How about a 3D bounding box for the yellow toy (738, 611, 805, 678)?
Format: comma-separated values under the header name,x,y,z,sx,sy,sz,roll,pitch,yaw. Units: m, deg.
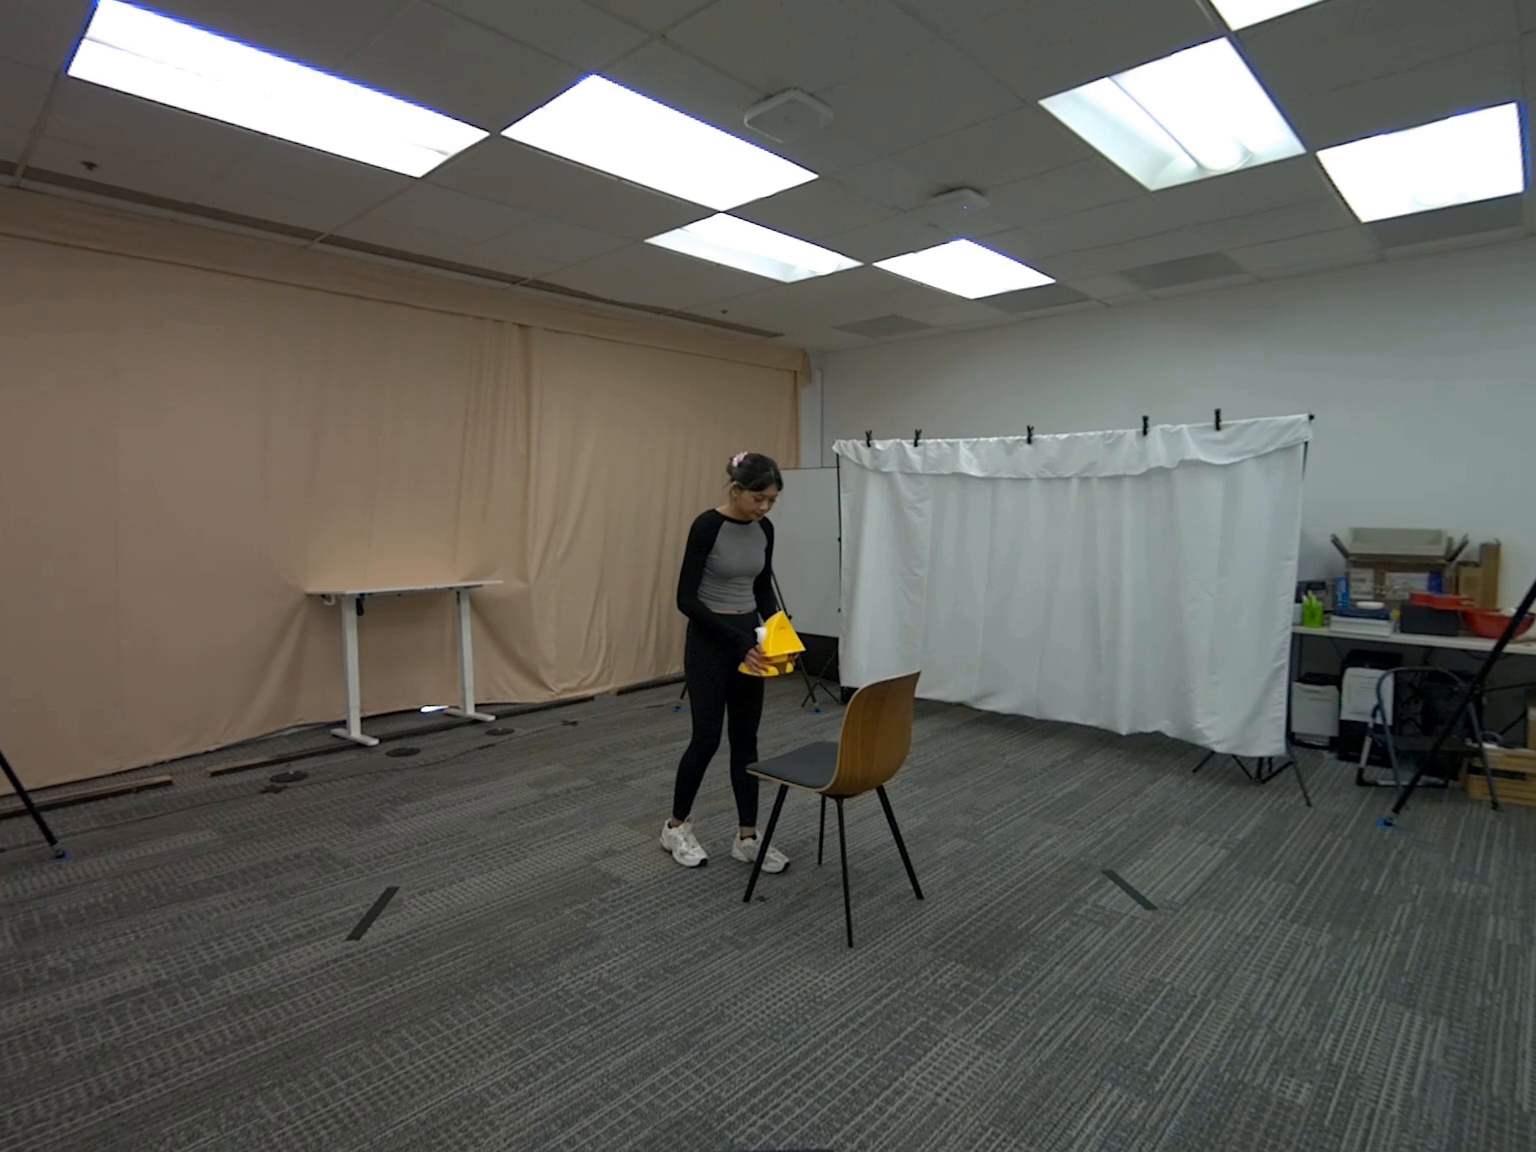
name,x,y,z,sx,sy,sz,roll,pitch,yaw
yellow toy,0.006,0.238,3.116,0.199,0.230,0.198,3,4,43
